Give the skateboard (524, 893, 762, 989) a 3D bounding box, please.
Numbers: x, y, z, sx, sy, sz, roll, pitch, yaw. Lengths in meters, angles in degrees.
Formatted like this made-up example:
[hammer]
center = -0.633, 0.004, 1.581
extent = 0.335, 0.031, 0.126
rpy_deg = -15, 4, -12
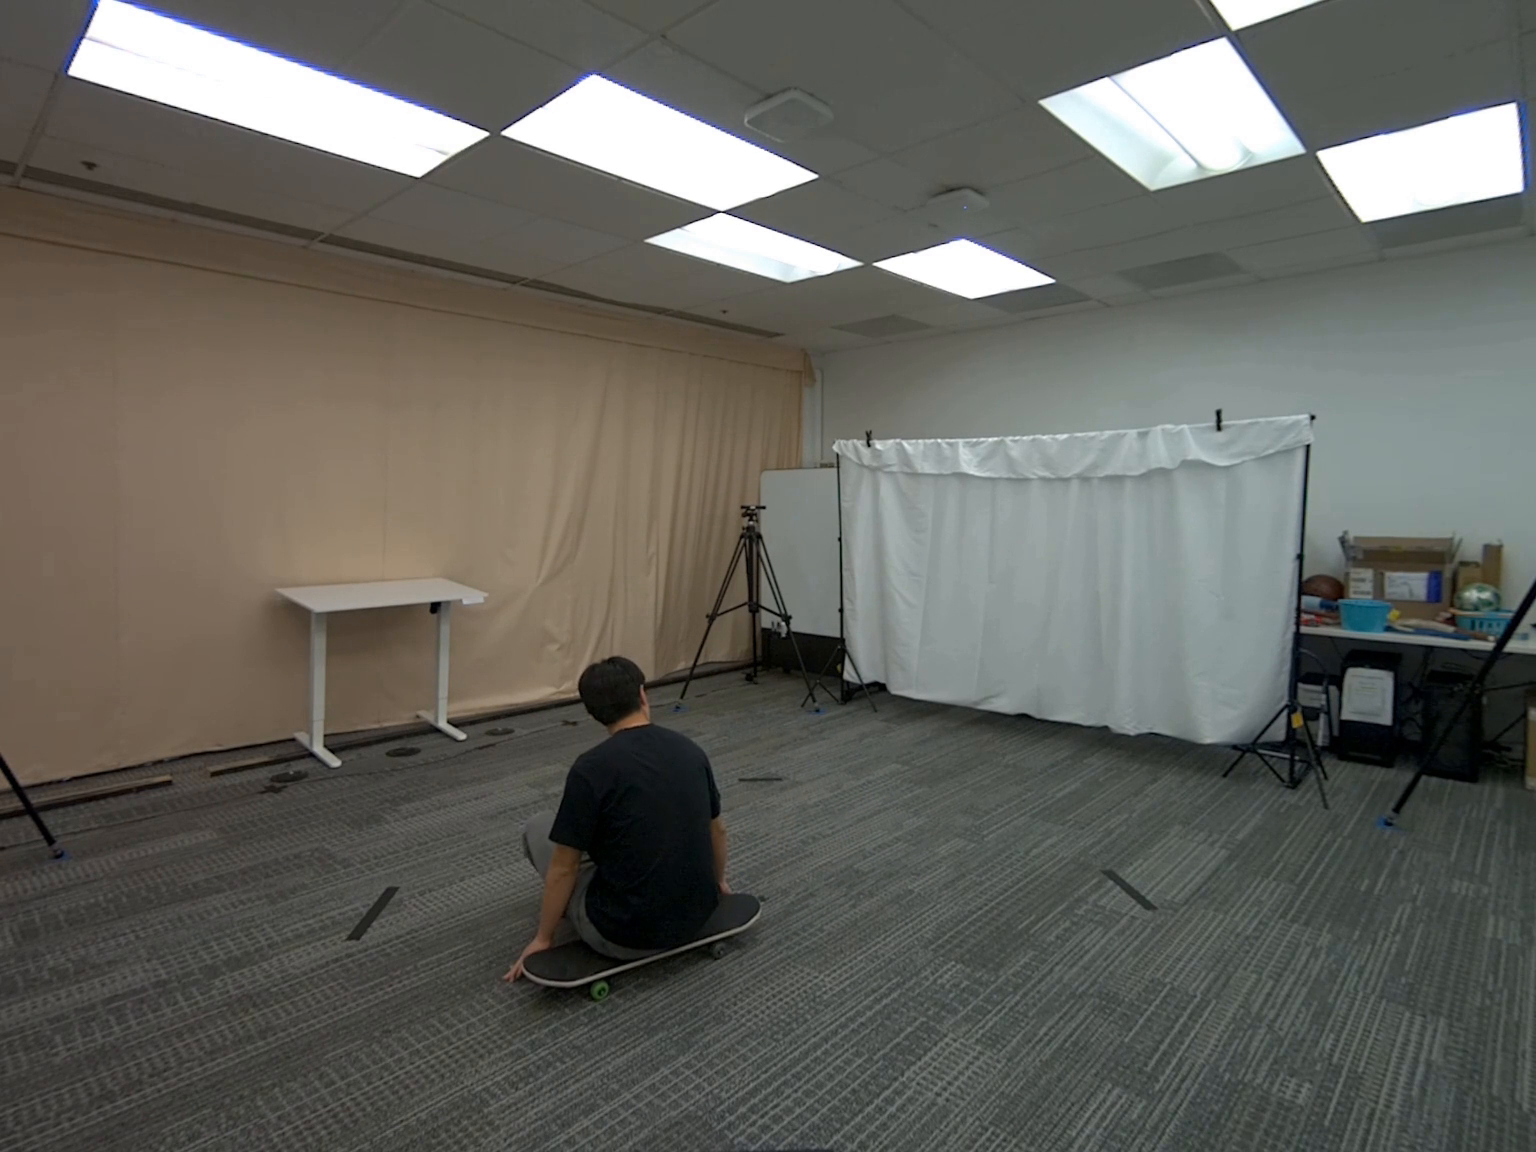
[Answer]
[skateboard]
center = -0.362, 1.124, 2.557
extent = 0.764, 0.110, 0.199
rpy_deg = -5, 8, -32
